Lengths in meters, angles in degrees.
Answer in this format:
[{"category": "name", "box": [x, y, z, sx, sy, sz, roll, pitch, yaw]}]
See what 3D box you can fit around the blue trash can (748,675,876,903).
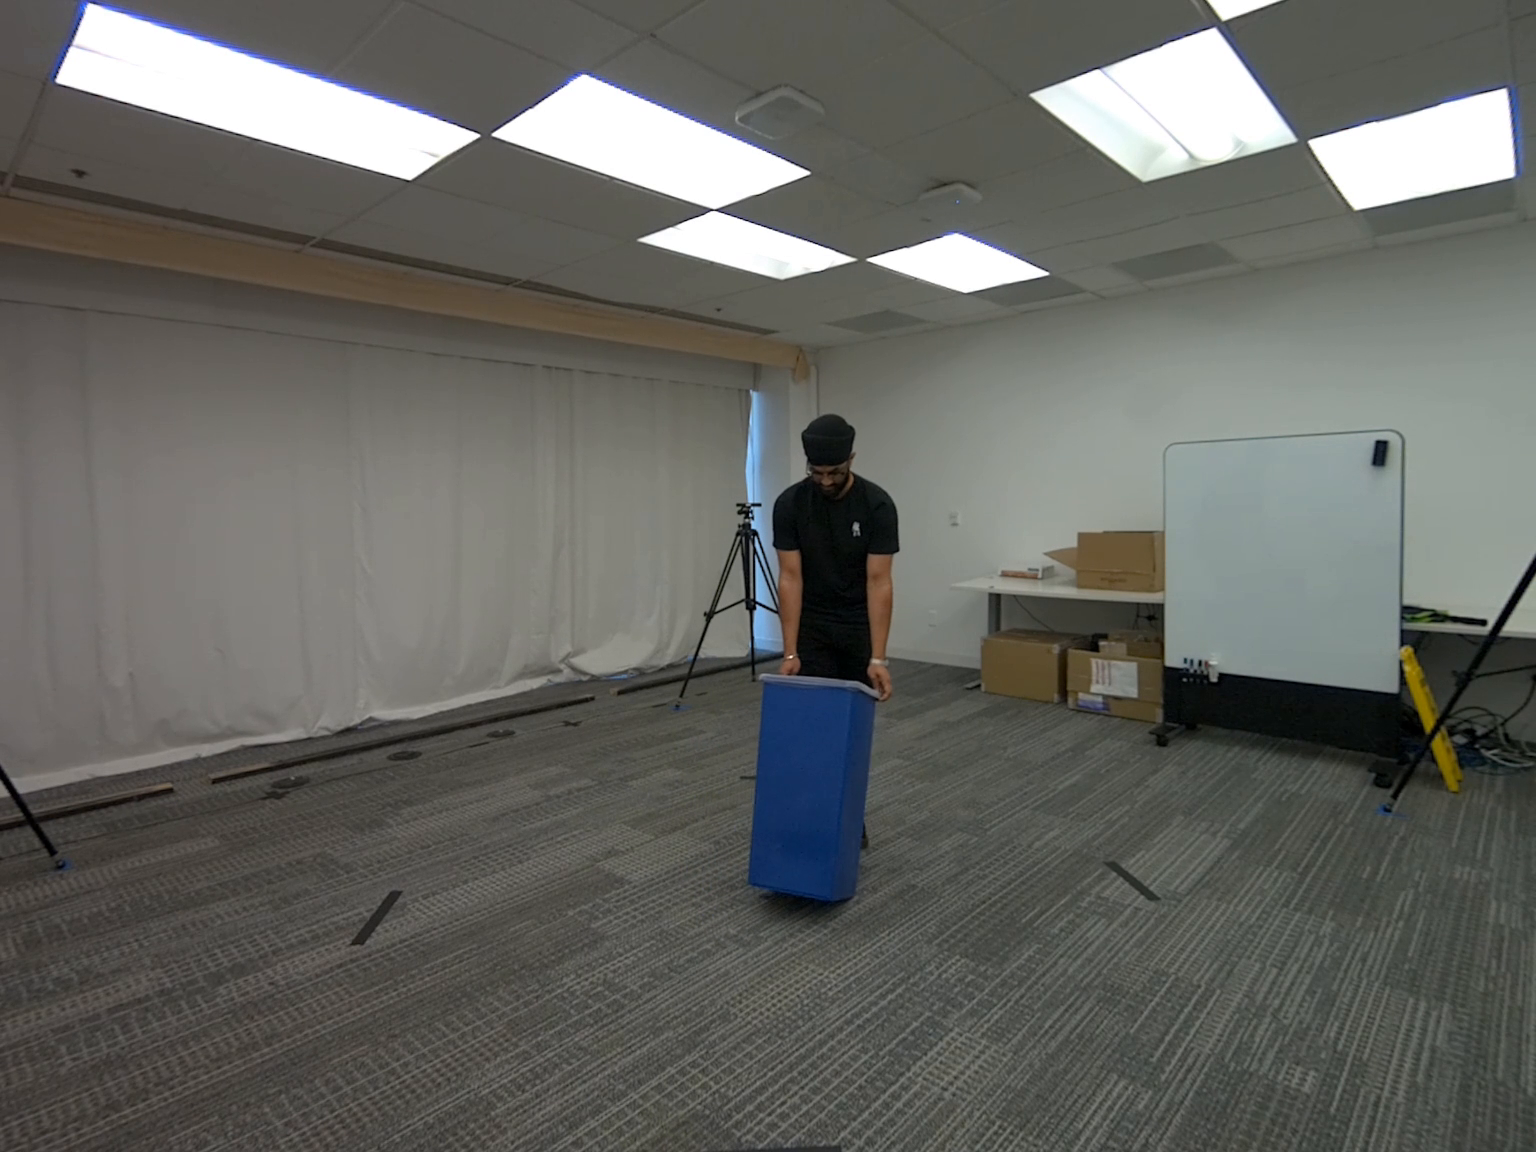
[{"category": "blue trash can", "box": [0.159, 0.744, 3.011, 0.387, 0.718, 0.363, 1, -14, 23]}]
